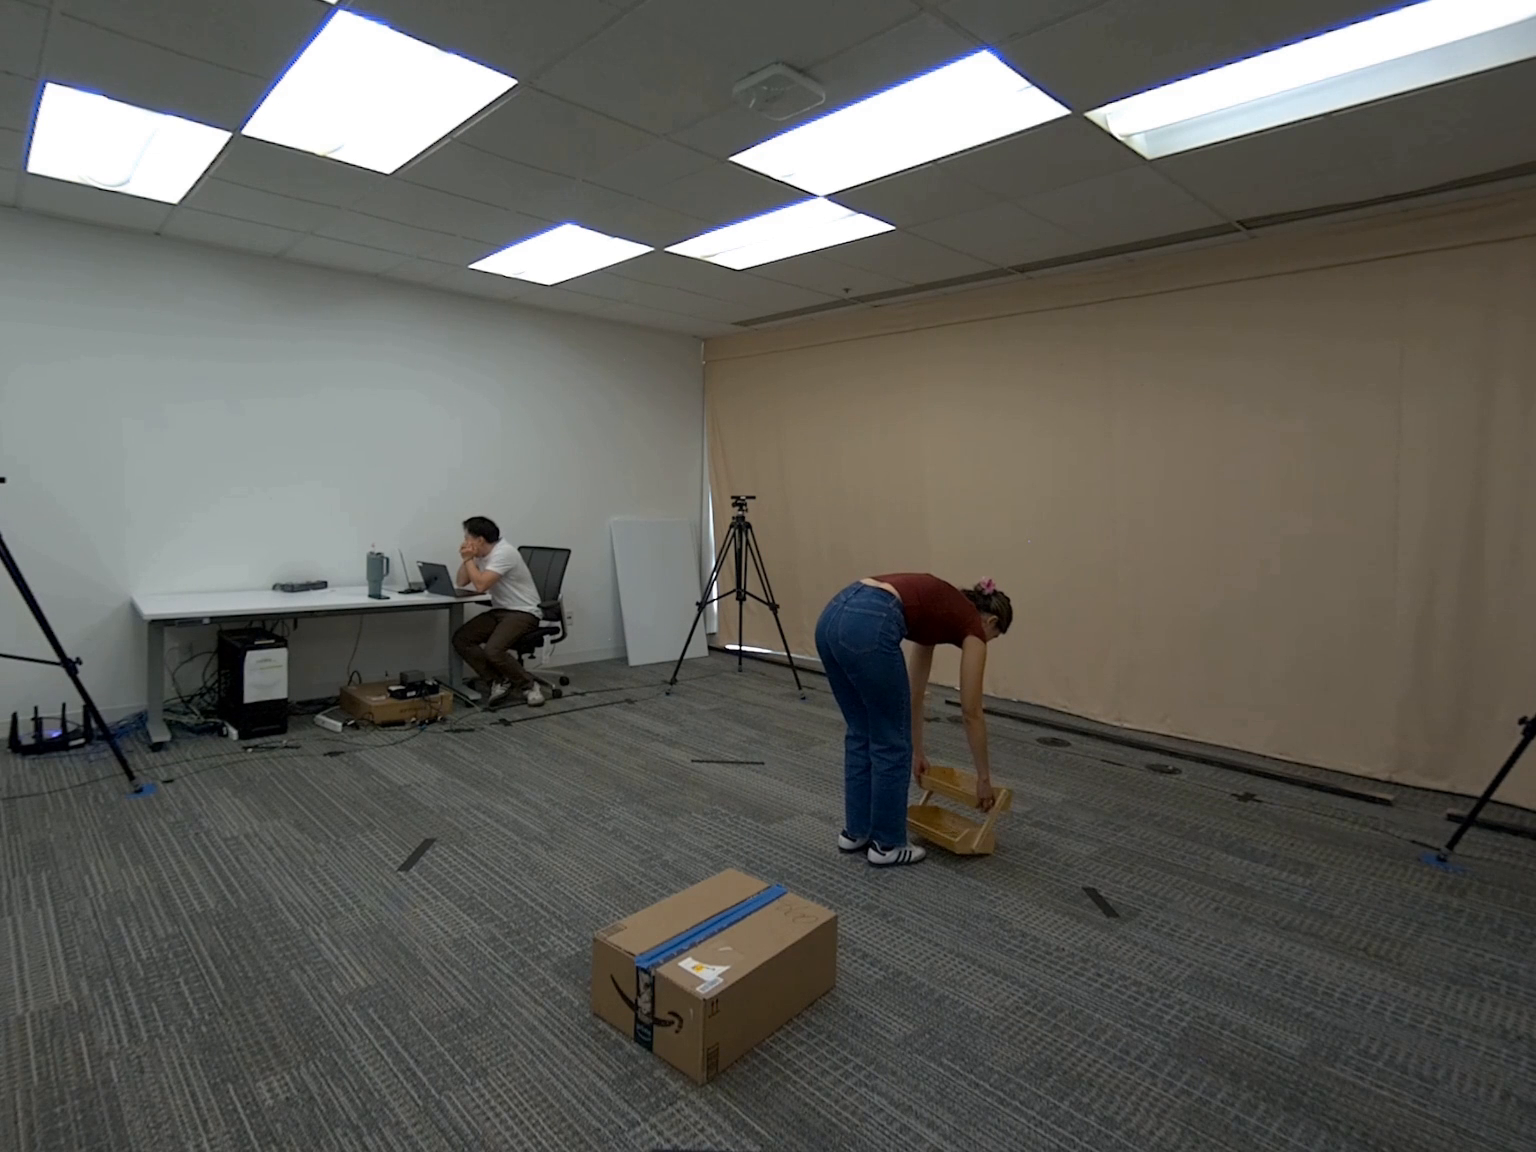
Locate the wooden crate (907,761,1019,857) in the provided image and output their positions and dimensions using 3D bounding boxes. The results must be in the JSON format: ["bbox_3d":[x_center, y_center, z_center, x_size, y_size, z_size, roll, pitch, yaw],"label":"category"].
[{"bbox_3d":[0.753,0.929,3.410,0.294,0.274,0.333,15,-3,-38],"label":"wooden crate"}]
